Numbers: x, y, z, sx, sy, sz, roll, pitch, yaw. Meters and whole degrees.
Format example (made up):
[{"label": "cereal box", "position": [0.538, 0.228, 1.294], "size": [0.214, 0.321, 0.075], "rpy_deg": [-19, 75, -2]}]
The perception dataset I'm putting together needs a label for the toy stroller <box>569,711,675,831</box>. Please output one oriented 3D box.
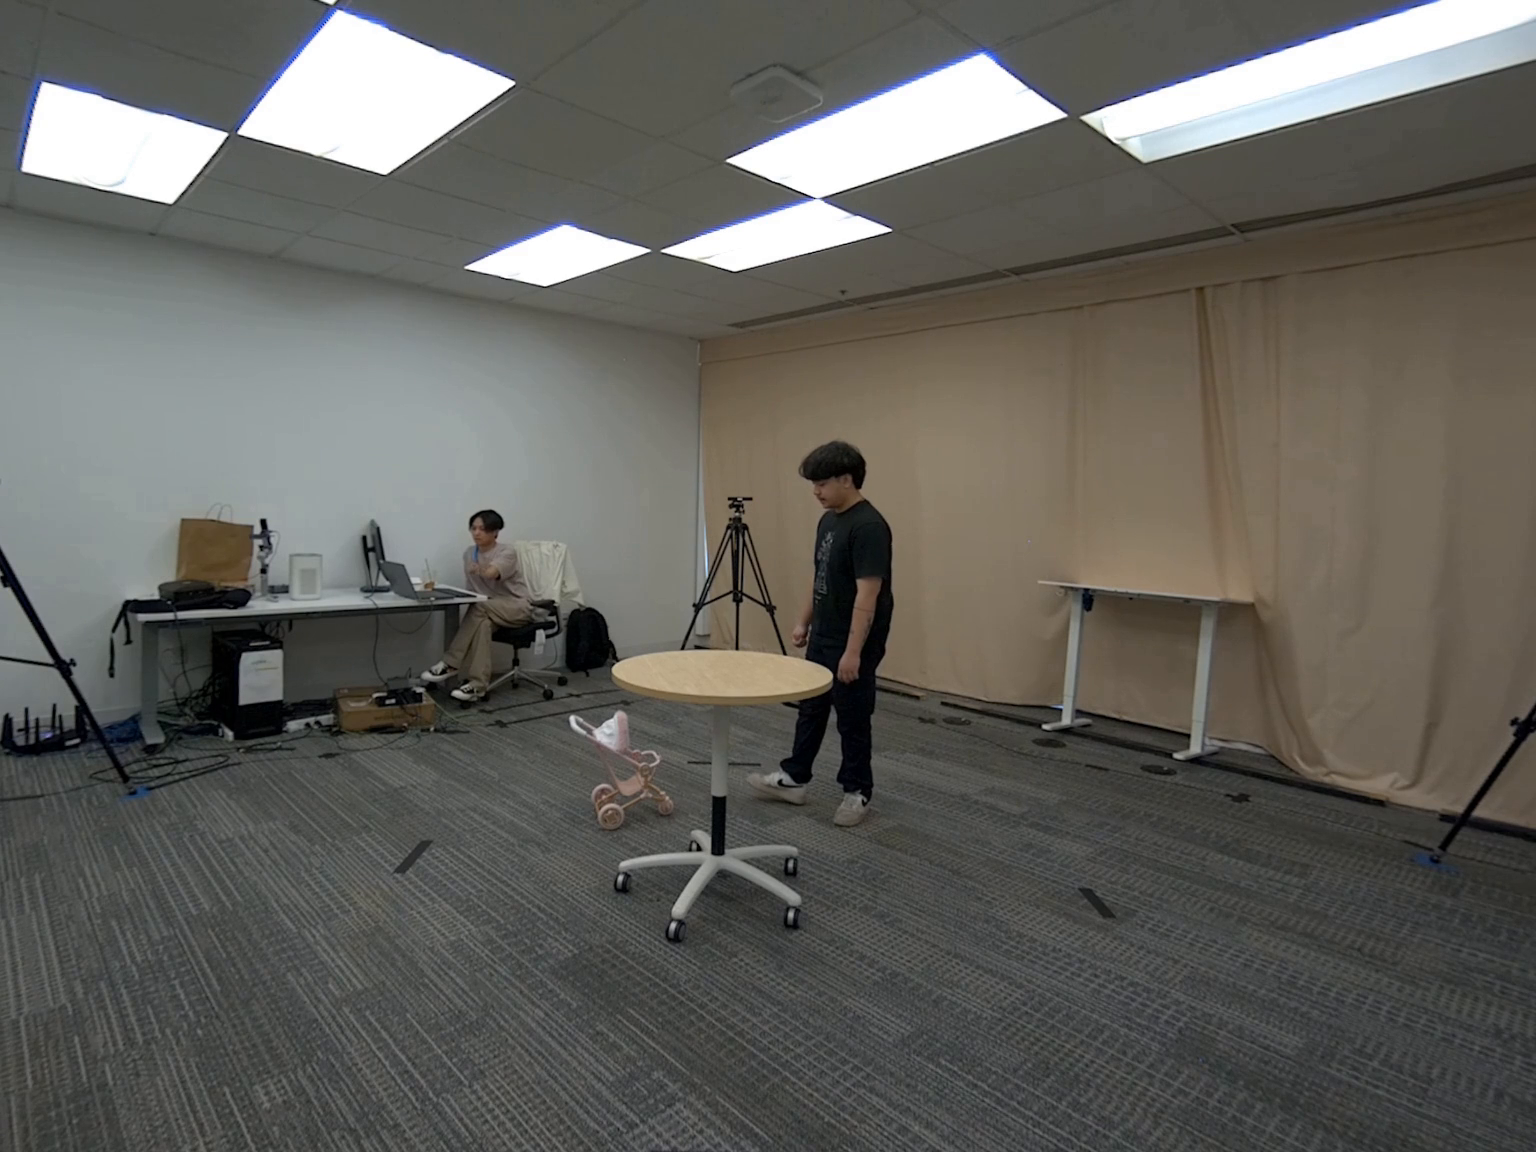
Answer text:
[{"label": "toy stroller", "position": [-0.633, 0.826, 3.639], "size": [0.339, 0.532, 0.285], "rpy_deg": [-14, 6, -11]}]
